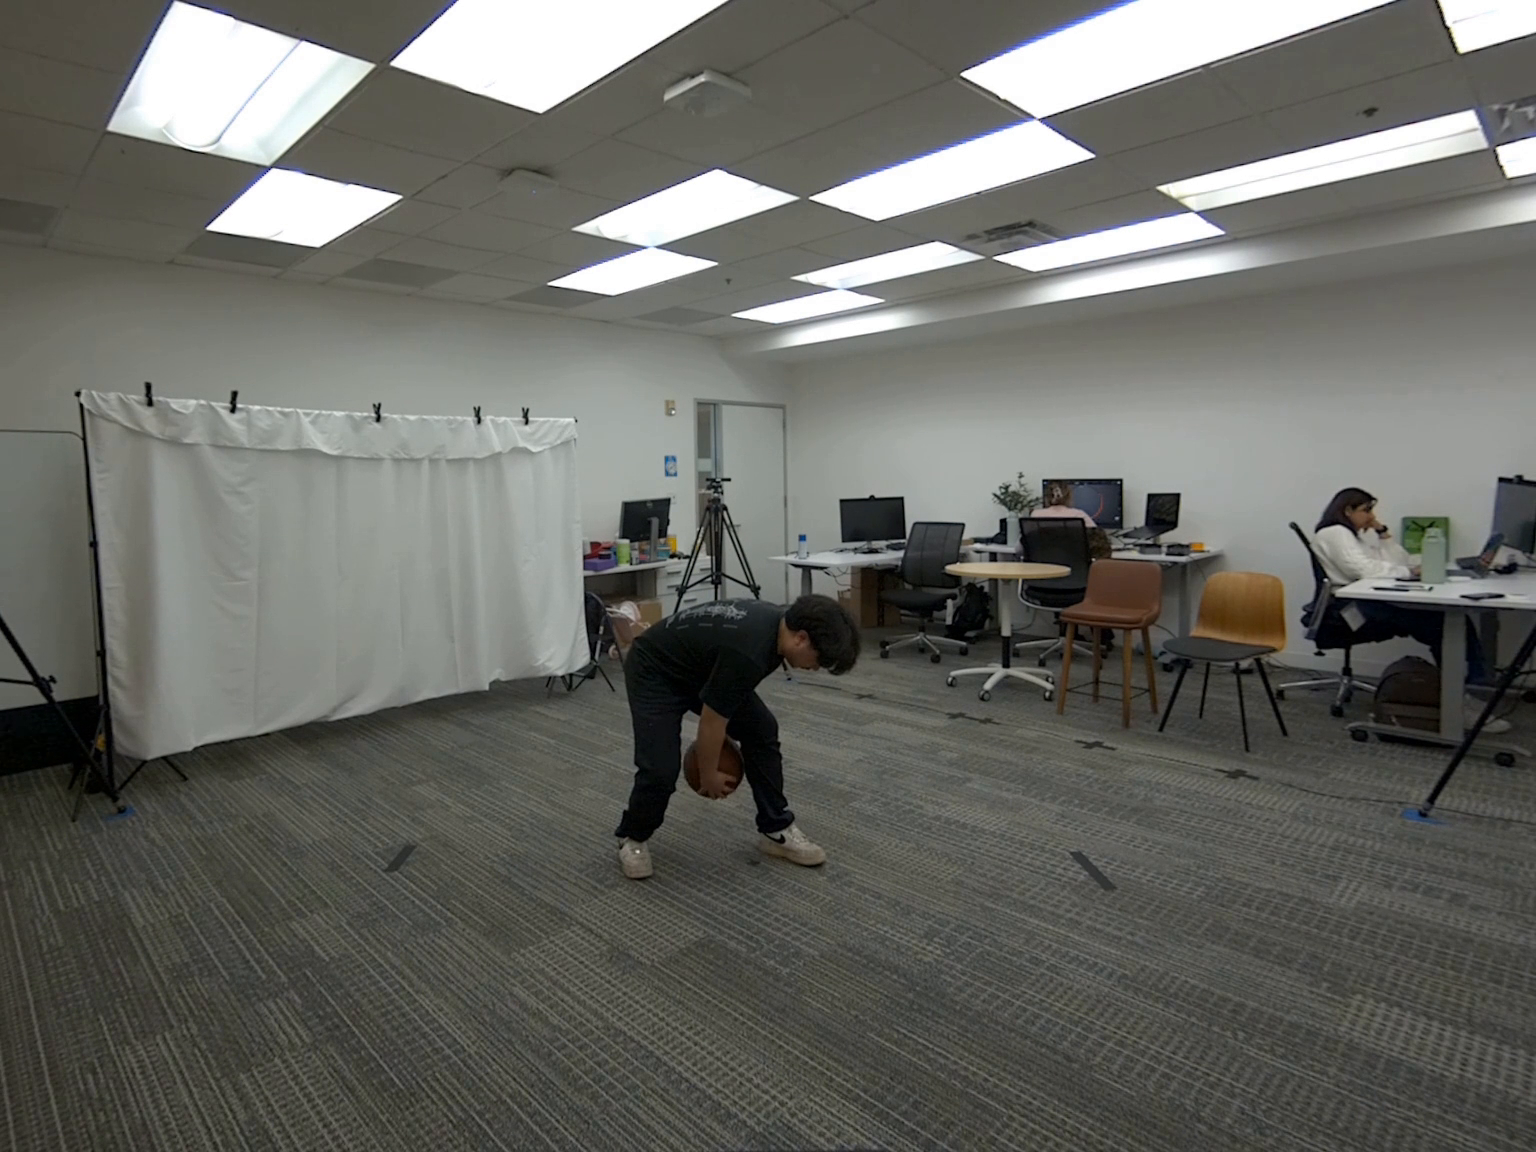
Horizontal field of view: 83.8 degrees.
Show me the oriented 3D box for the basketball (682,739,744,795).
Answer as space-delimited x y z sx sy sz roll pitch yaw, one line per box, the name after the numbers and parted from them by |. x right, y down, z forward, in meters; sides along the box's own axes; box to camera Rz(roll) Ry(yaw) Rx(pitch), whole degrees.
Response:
-0.198 0.716 3.256 0.236 0.235 0.237 -1 5 -2 | basketball
